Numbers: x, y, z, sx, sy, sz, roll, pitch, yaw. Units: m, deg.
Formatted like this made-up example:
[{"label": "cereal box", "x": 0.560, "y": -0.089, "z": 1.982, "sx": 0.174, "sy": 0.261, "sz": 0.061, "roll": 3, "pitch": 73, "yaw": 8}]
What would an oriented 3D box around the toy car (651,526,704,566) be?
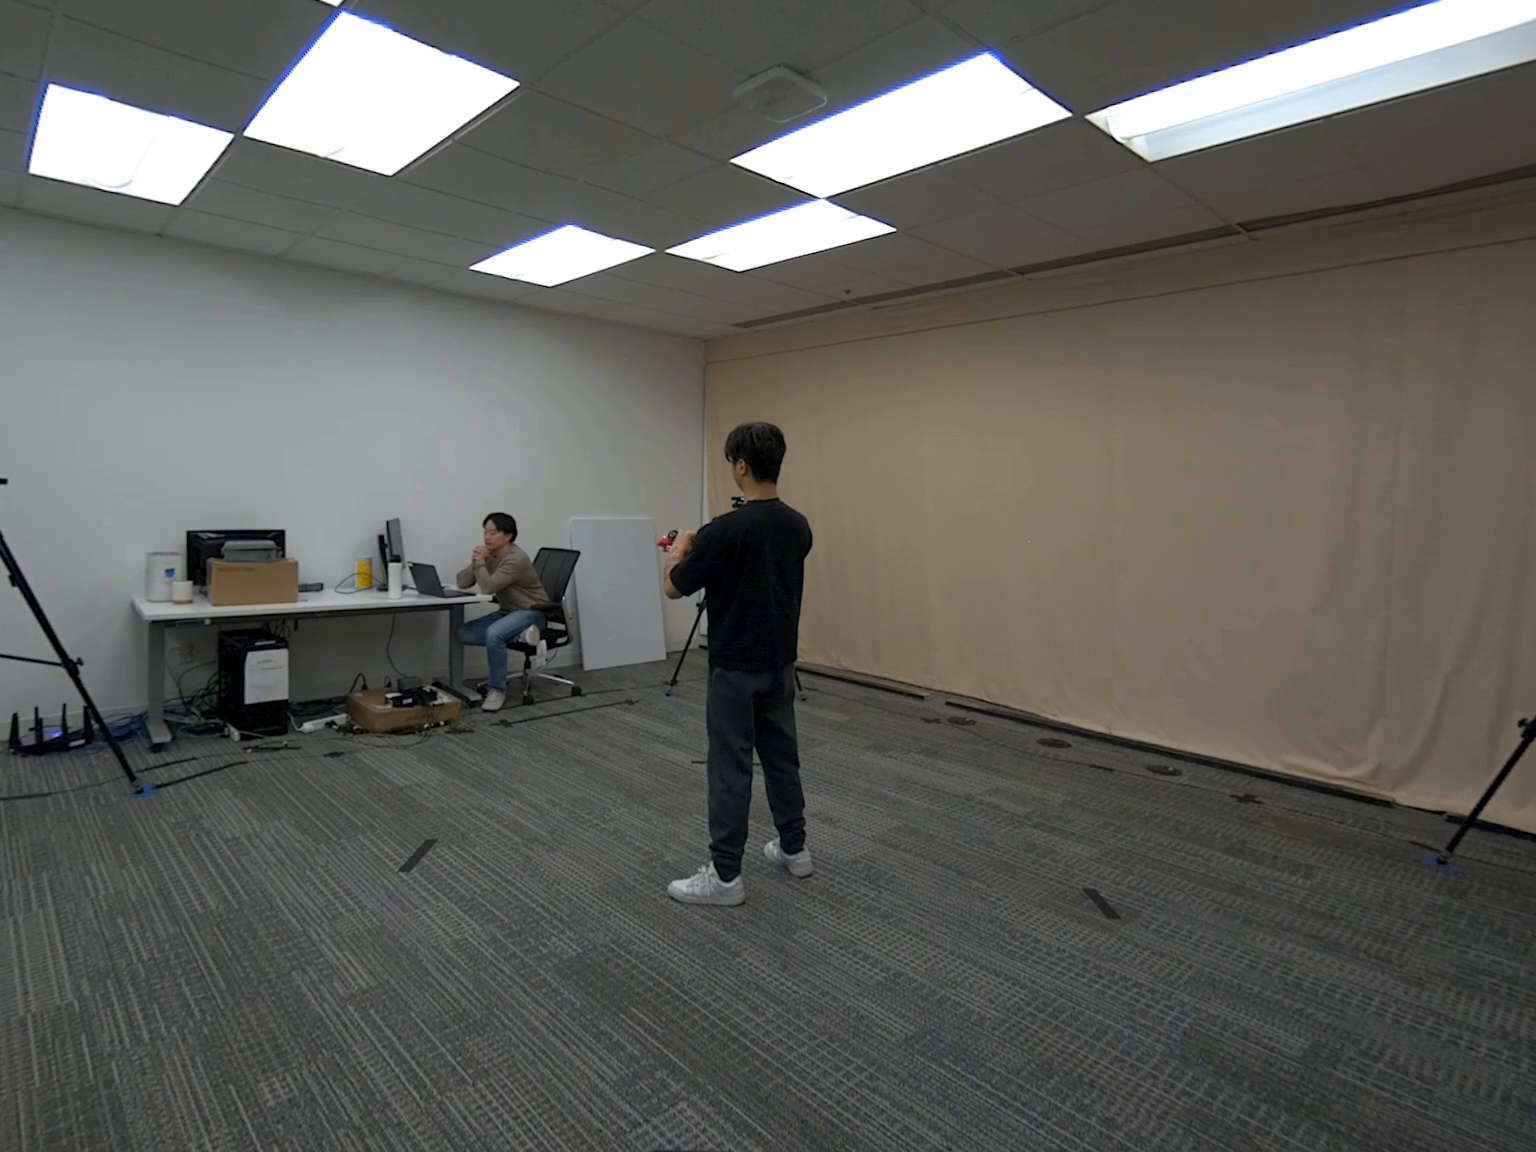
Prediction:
[{"label": "toy car", "x": -0.299, "y": -0.116, "z": 3.242, "sx": 0.258, "sy": 0.084, "sz": 0.126, "roll": -4, "pitch": -27, "yaw": 18}]
